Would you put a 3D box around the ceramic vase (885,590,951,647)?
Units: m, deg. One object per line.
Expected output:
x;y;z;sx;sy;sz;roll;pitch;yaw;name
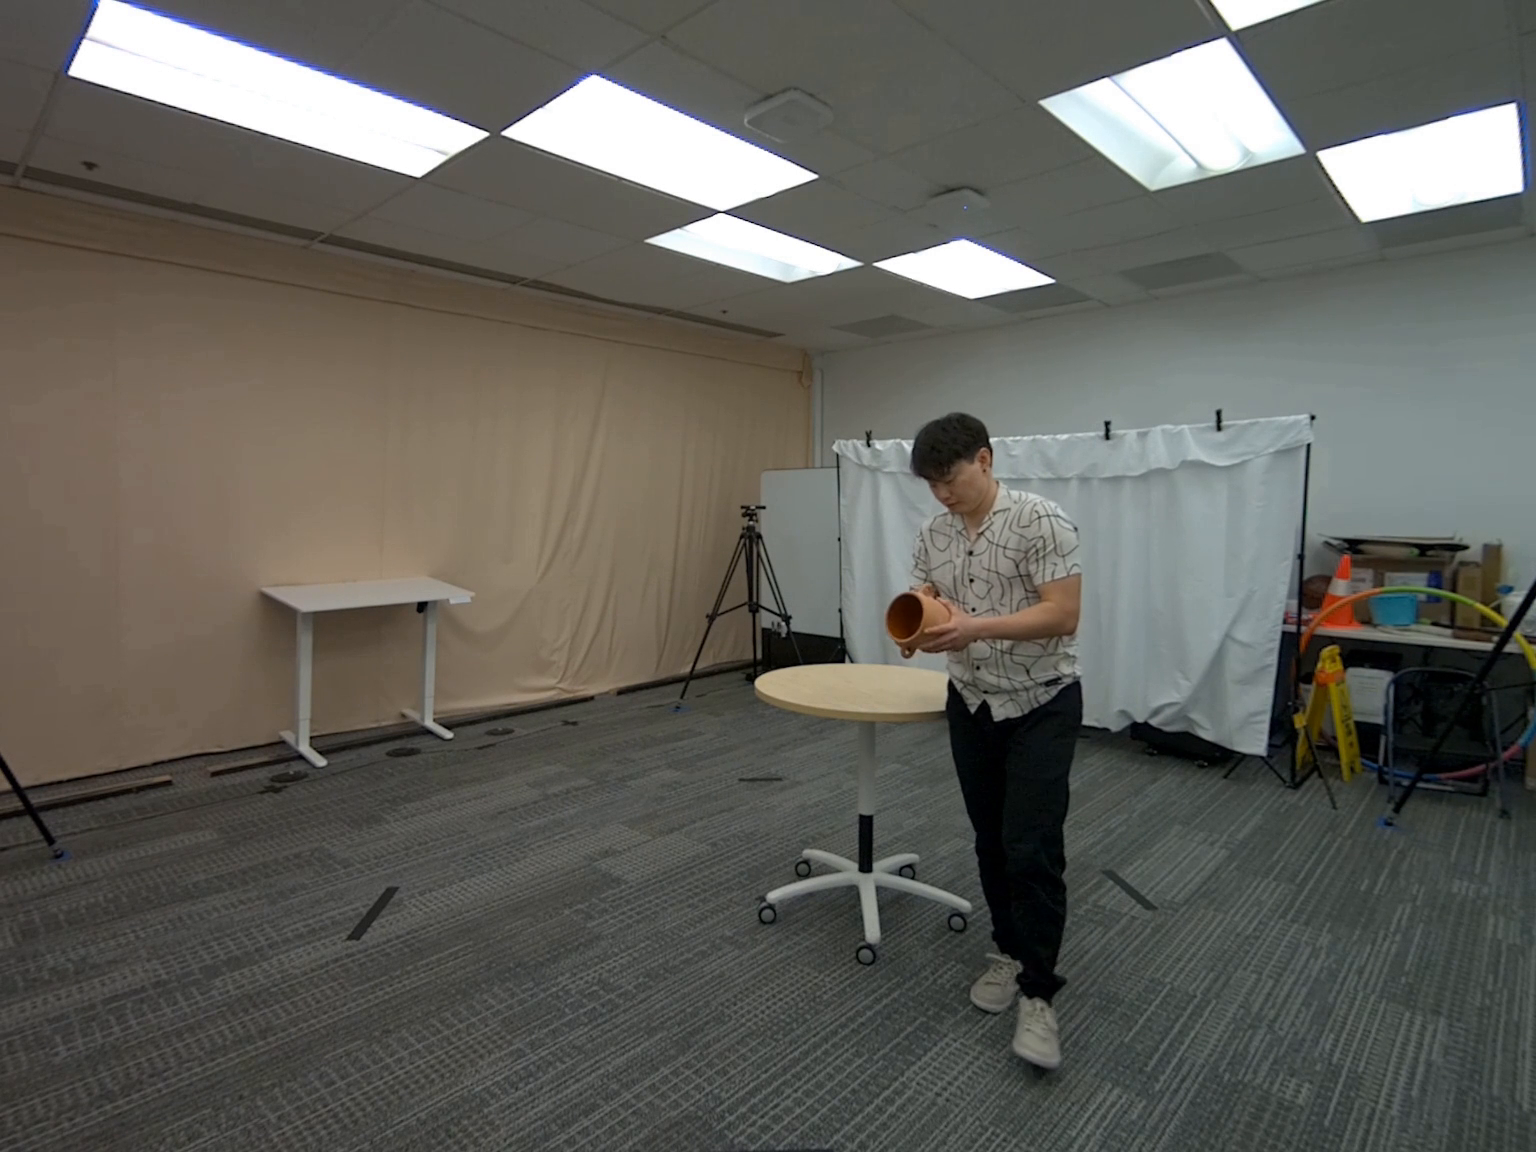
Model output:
0.424;0.131;2.193;0.212;0.138;0.160;17;-52;-37;ceramic vase
